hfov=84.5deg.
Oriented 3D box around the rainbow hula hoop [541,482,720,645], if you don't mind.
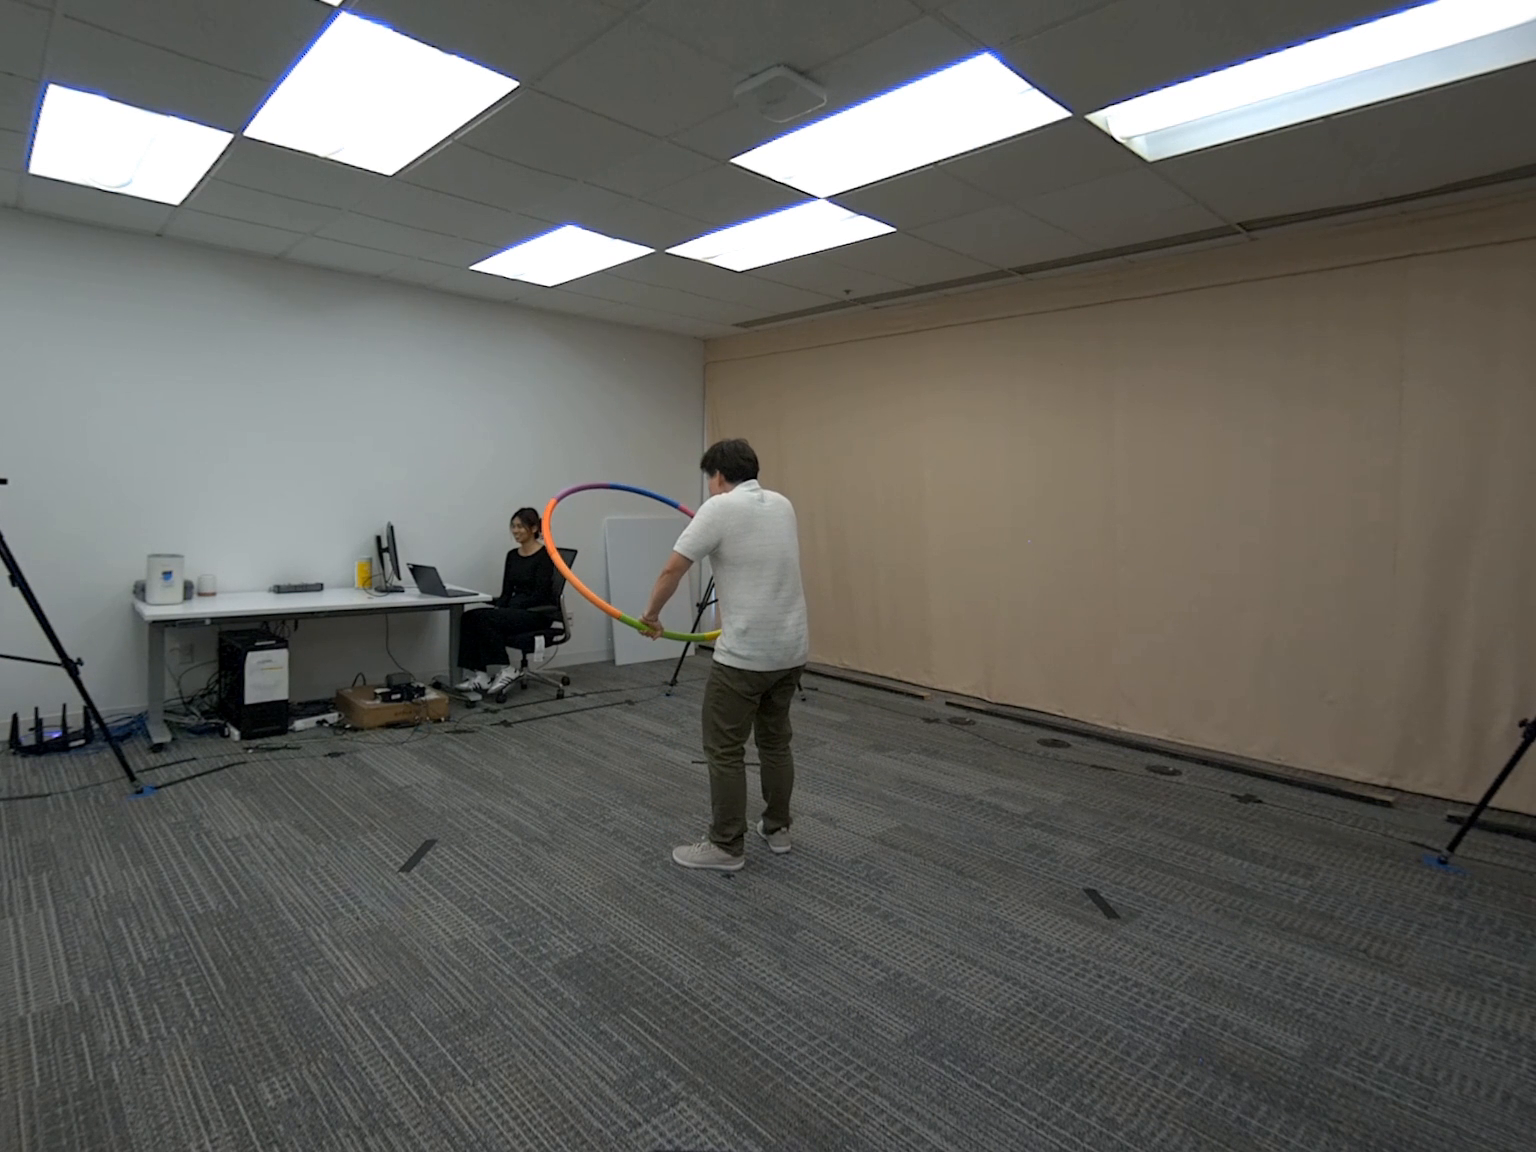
[{"bbox_3d":[-0.510,-0.085,3.650,0.963,0.035,1.000,22,33,-16],"label":"rainbow hula hoop"}]
